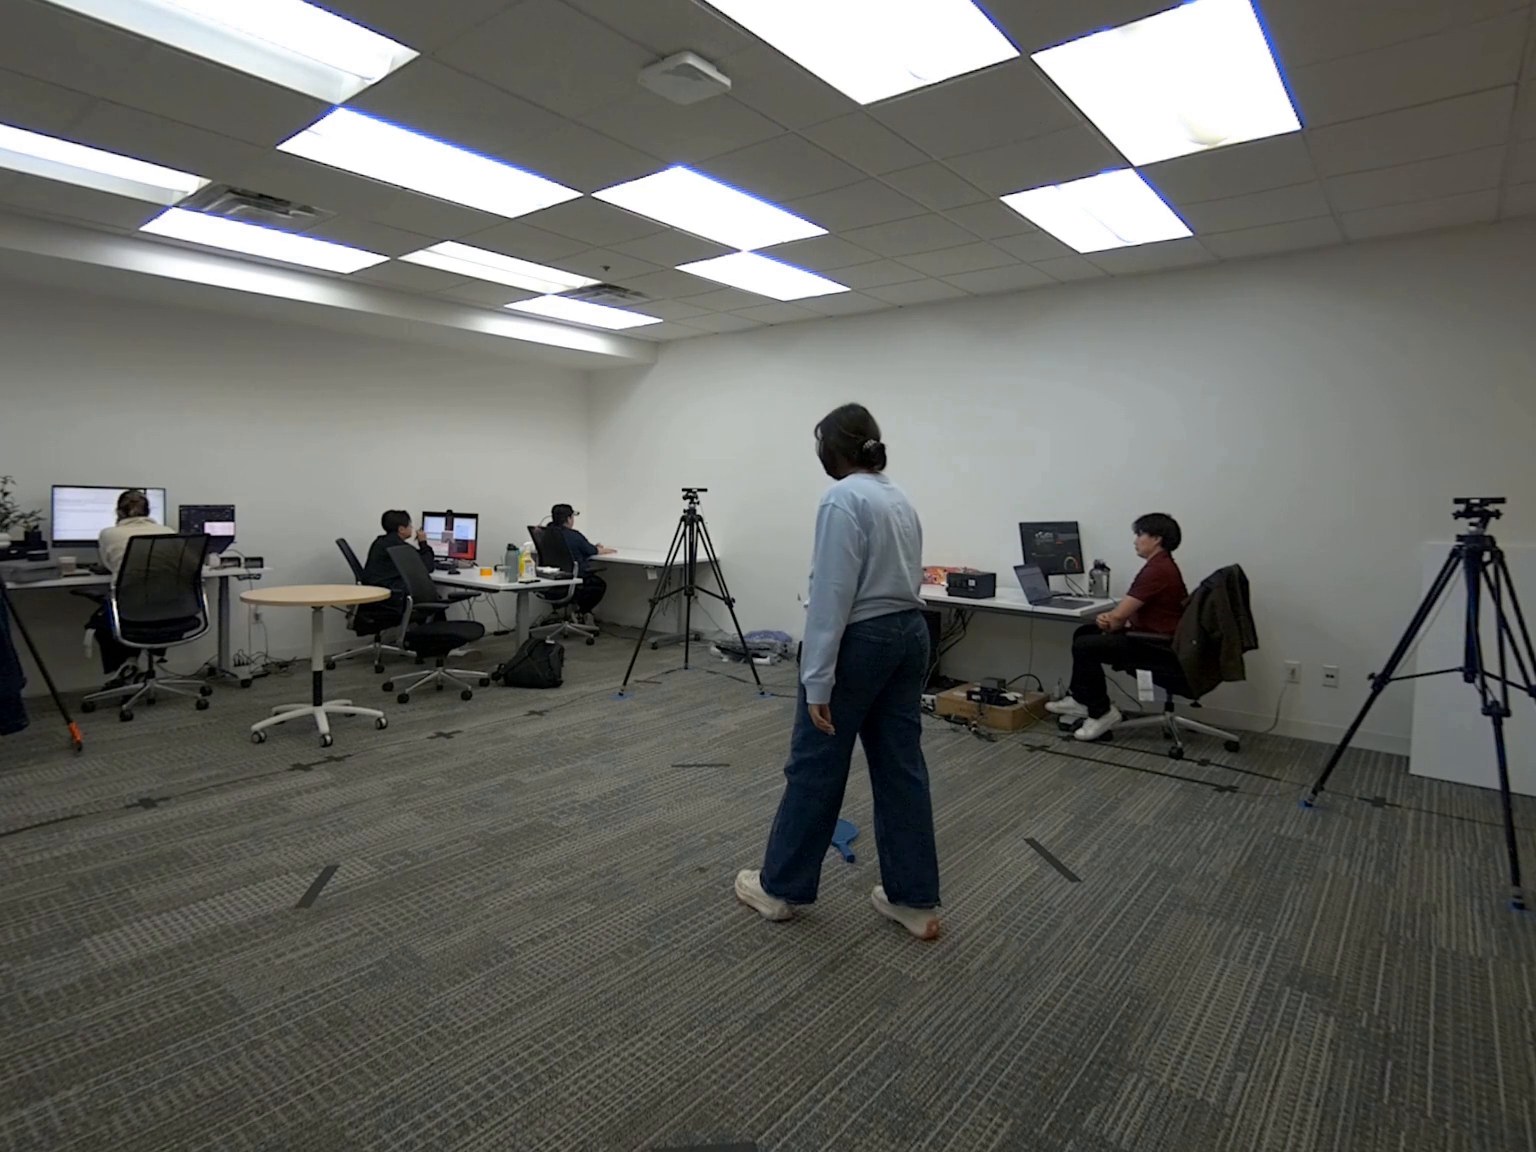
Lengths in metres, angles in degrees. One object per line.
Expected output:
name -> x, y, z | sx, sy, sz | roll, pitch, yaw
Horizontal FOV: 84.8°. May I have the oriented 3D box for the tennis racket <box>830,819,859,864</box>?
tennis racket -> 0.264, 1.036, 3.405 | 0.211, 0.031, 0.439 | 0, 5, -12
